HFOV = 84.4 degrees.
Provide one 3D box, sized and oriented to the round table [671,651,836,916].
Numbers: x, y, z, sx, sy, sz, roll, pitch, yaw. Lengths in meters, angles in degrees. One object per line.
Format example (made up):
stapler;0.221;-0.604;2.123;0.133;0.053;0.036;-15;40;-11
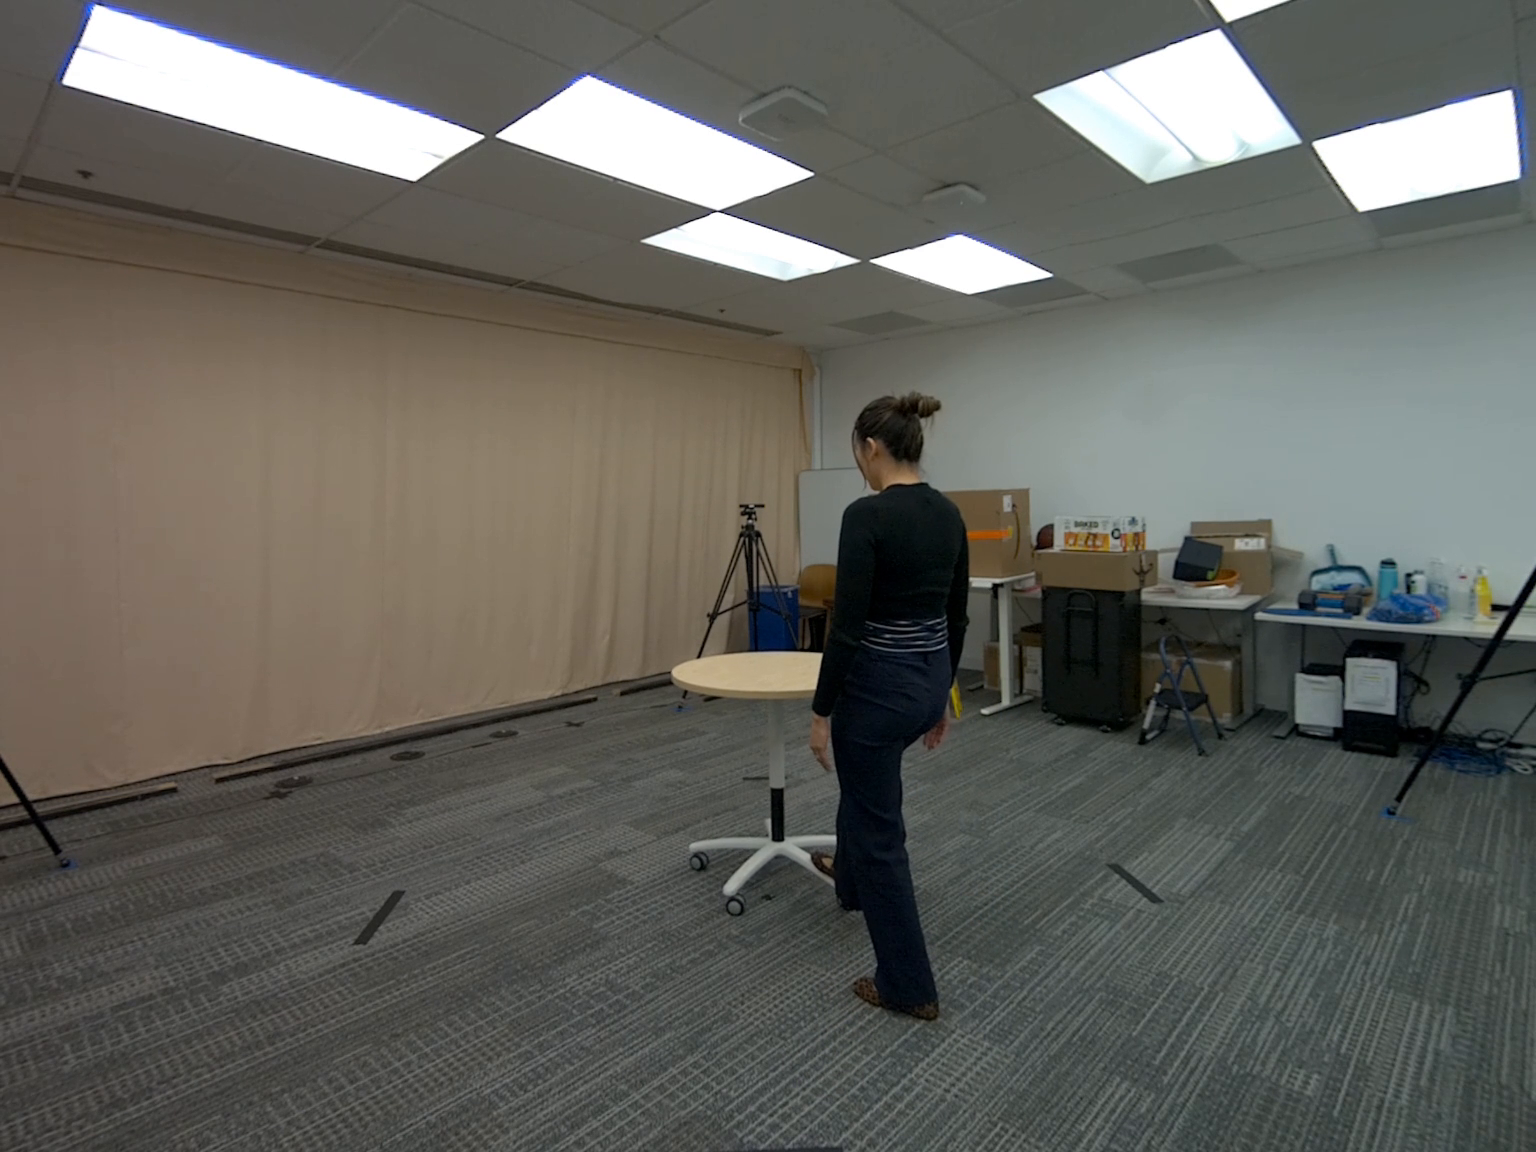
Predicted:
round table;0.036;0.739;3.124;0.763;0.792;0.766;-2;3;-2
